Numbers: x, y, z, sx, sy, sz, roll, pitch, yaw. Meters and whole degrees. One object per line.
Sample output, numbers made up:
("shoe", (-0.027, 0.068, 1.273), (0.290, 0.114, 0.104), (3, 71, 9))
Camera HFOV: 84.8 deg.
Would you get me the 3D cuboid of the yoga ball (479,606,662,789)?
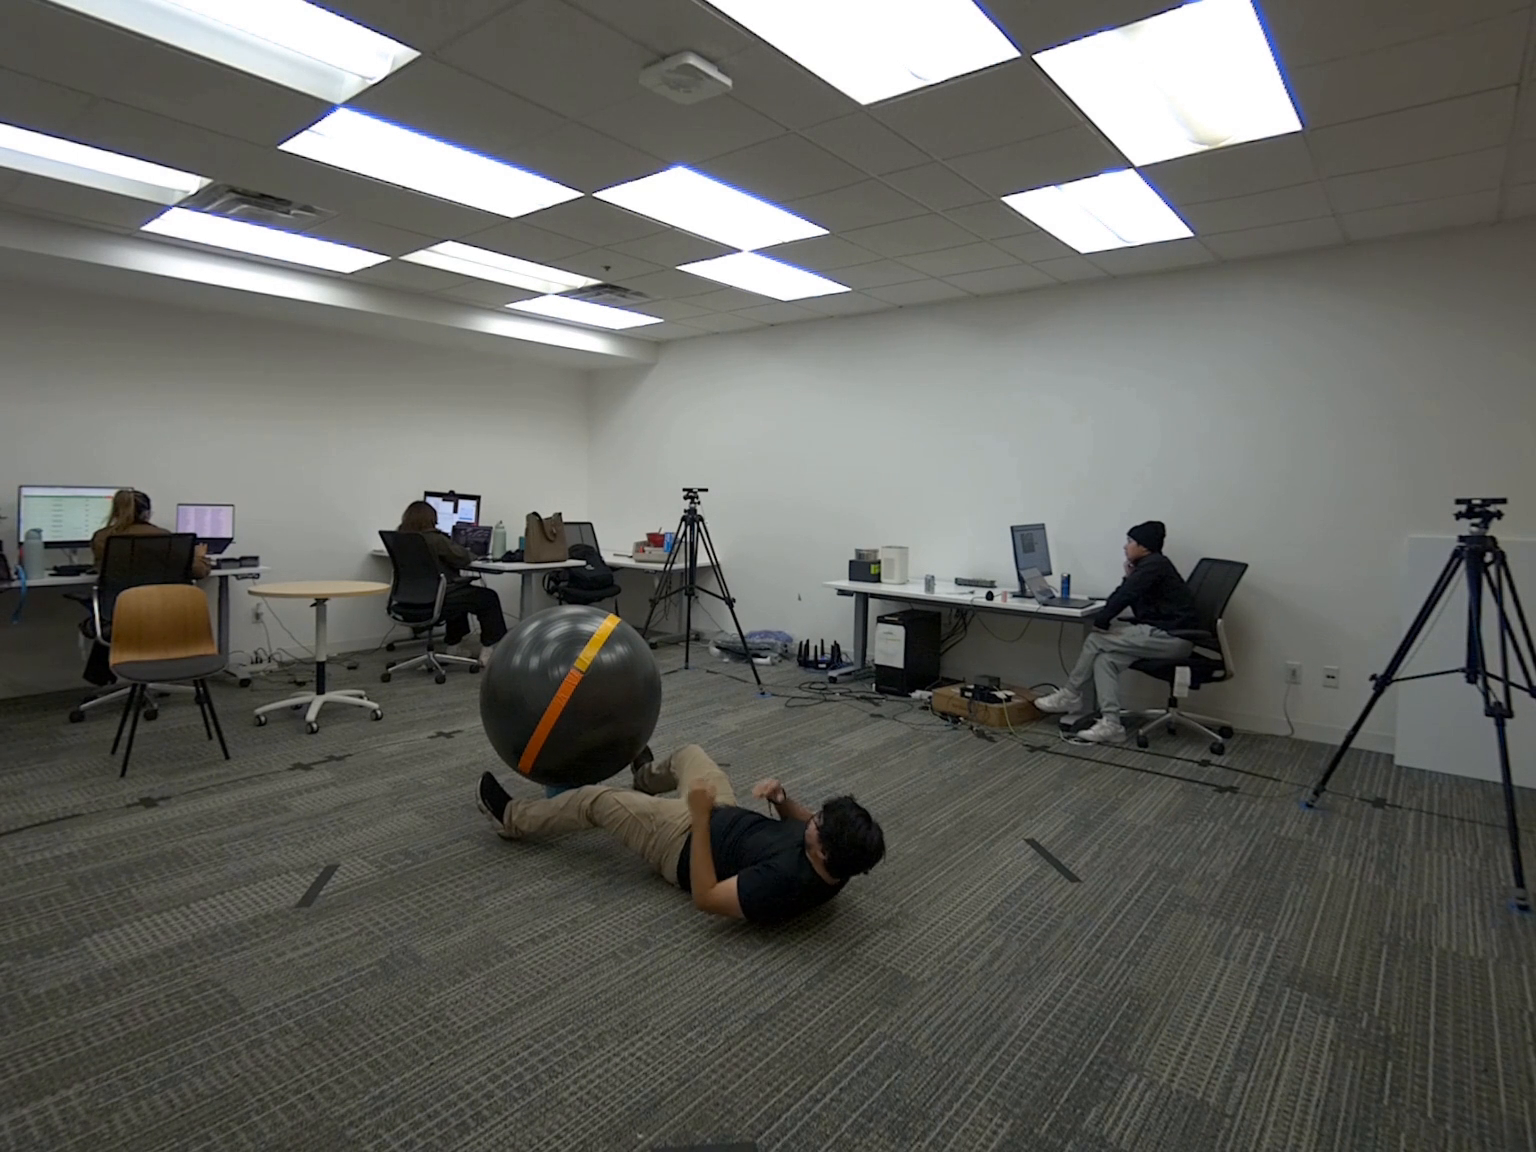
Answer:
("yoga ball", (-0.843, 0.506, 3.597), (0.757, 0.755, 0.762), (1, 4, -2))
